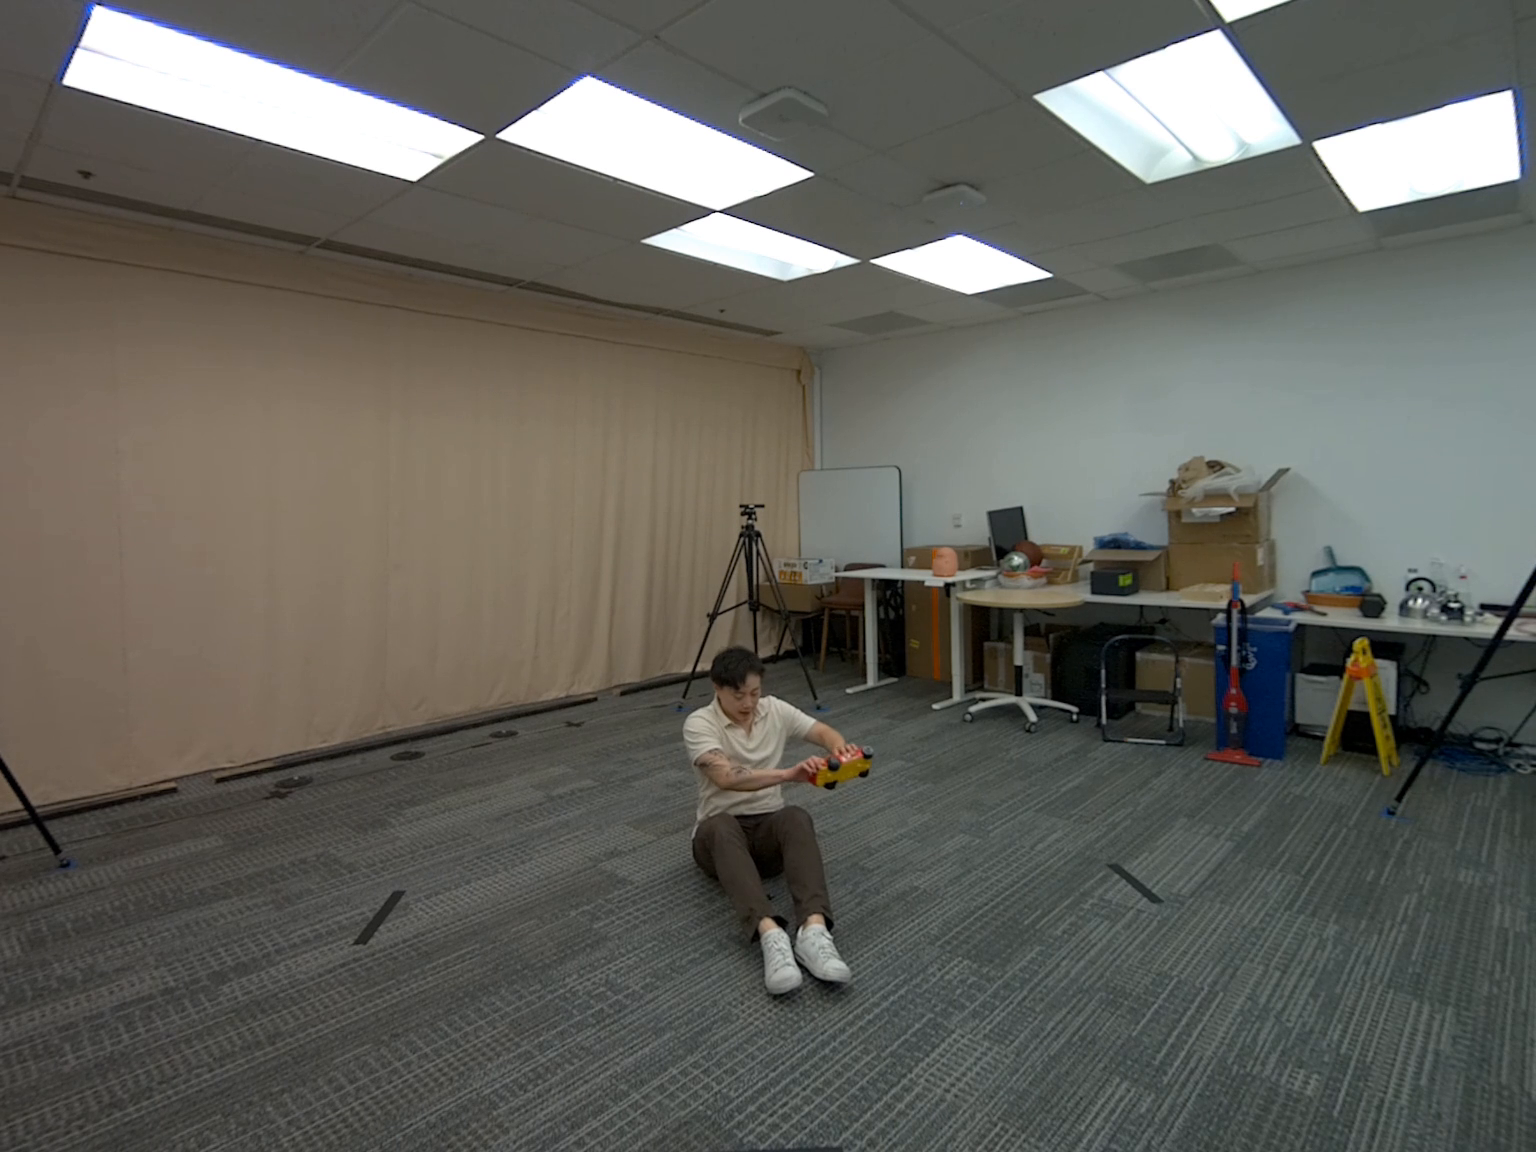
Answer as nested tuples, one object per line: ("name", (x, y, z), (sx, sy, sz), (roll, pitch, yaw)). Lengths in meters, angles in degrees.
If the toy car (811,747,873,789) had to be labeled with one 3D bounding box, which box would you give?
("toy car", (0.249, 0.682, 2.960), (0.250, 0.129, 0.086), (-3, 35, -19))
